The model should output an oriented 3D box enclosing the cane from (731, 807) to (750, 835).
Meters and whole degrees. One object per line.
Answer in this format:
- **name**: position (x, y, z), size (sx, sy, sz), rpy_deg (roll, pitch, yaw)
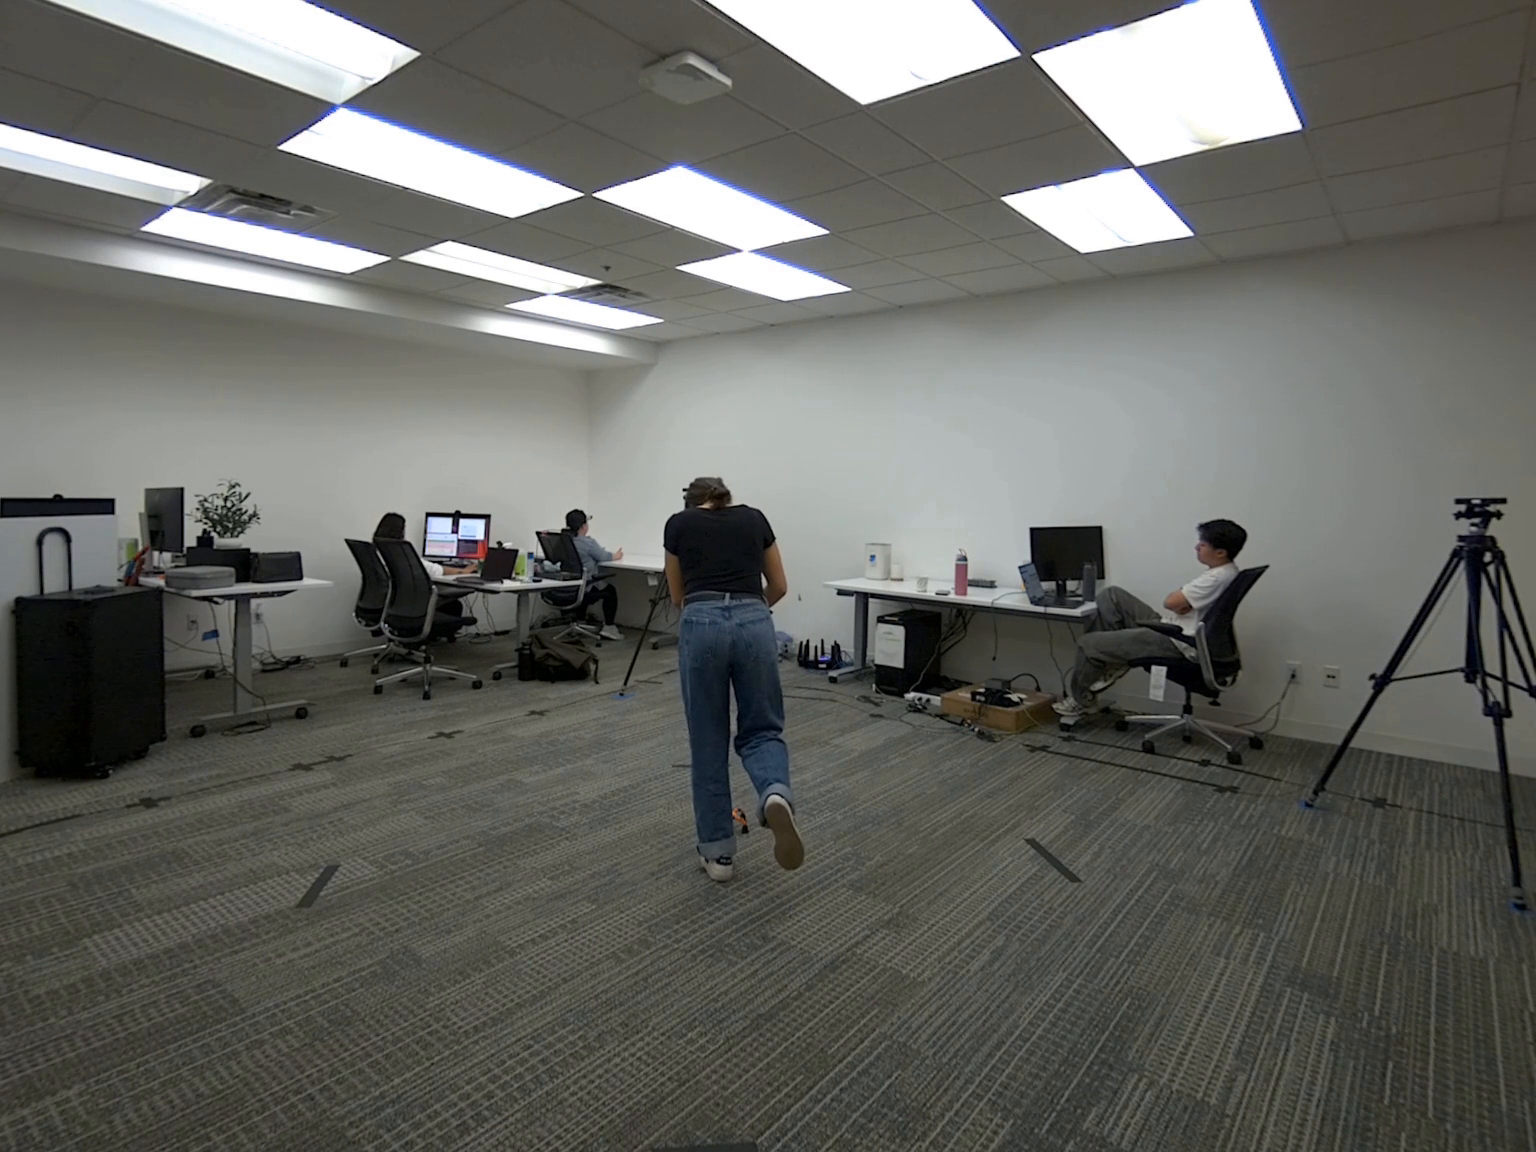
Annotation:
- **cane**: position (-0.168, 0.564, 3.493), size (0.206, 0.906, 0.152), rpy_deg (1, 2, -4)
